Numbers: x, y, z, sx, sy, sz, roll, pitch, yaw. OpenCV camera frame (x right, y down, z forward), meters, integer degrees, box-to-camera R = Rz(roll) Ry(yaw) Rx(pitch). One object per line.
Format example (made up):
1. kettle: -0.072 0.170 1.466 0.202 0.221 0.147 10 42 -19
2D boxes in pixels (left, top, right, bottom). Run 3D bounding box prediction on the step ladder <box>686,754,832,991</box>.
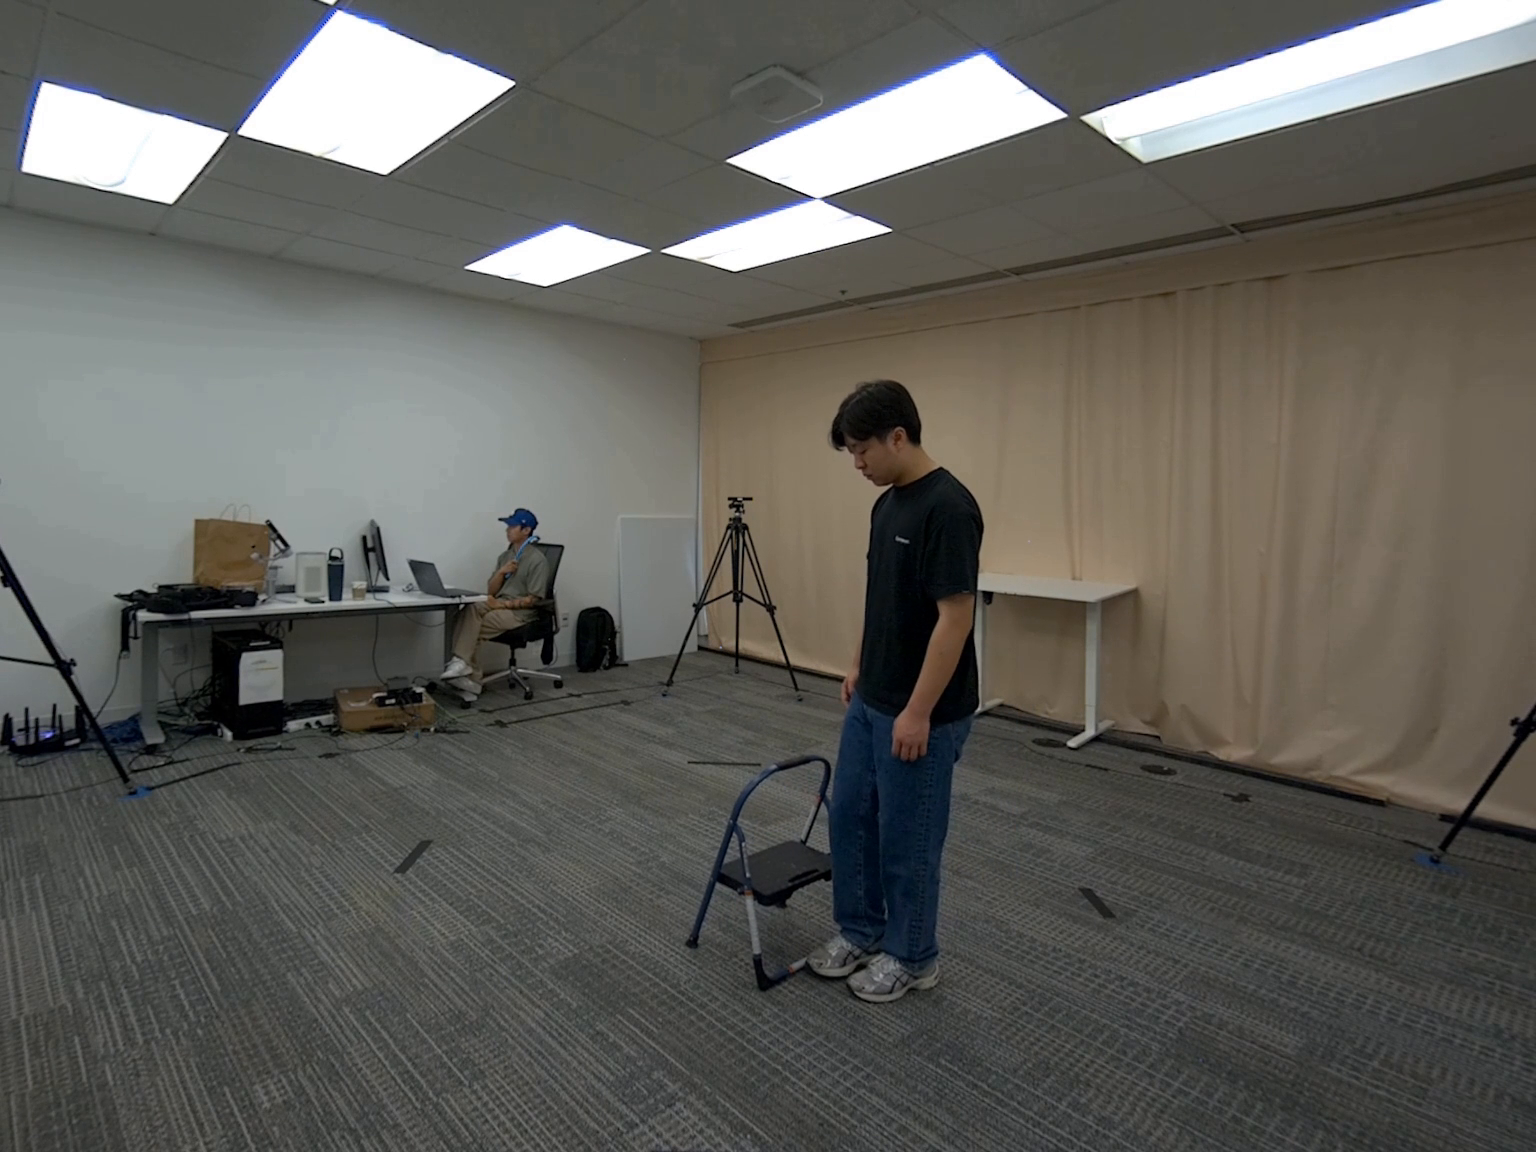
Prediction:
1. step ladder: 0.011 0.852 2.627 0.421 0.604 0.358 -3 5 -43
